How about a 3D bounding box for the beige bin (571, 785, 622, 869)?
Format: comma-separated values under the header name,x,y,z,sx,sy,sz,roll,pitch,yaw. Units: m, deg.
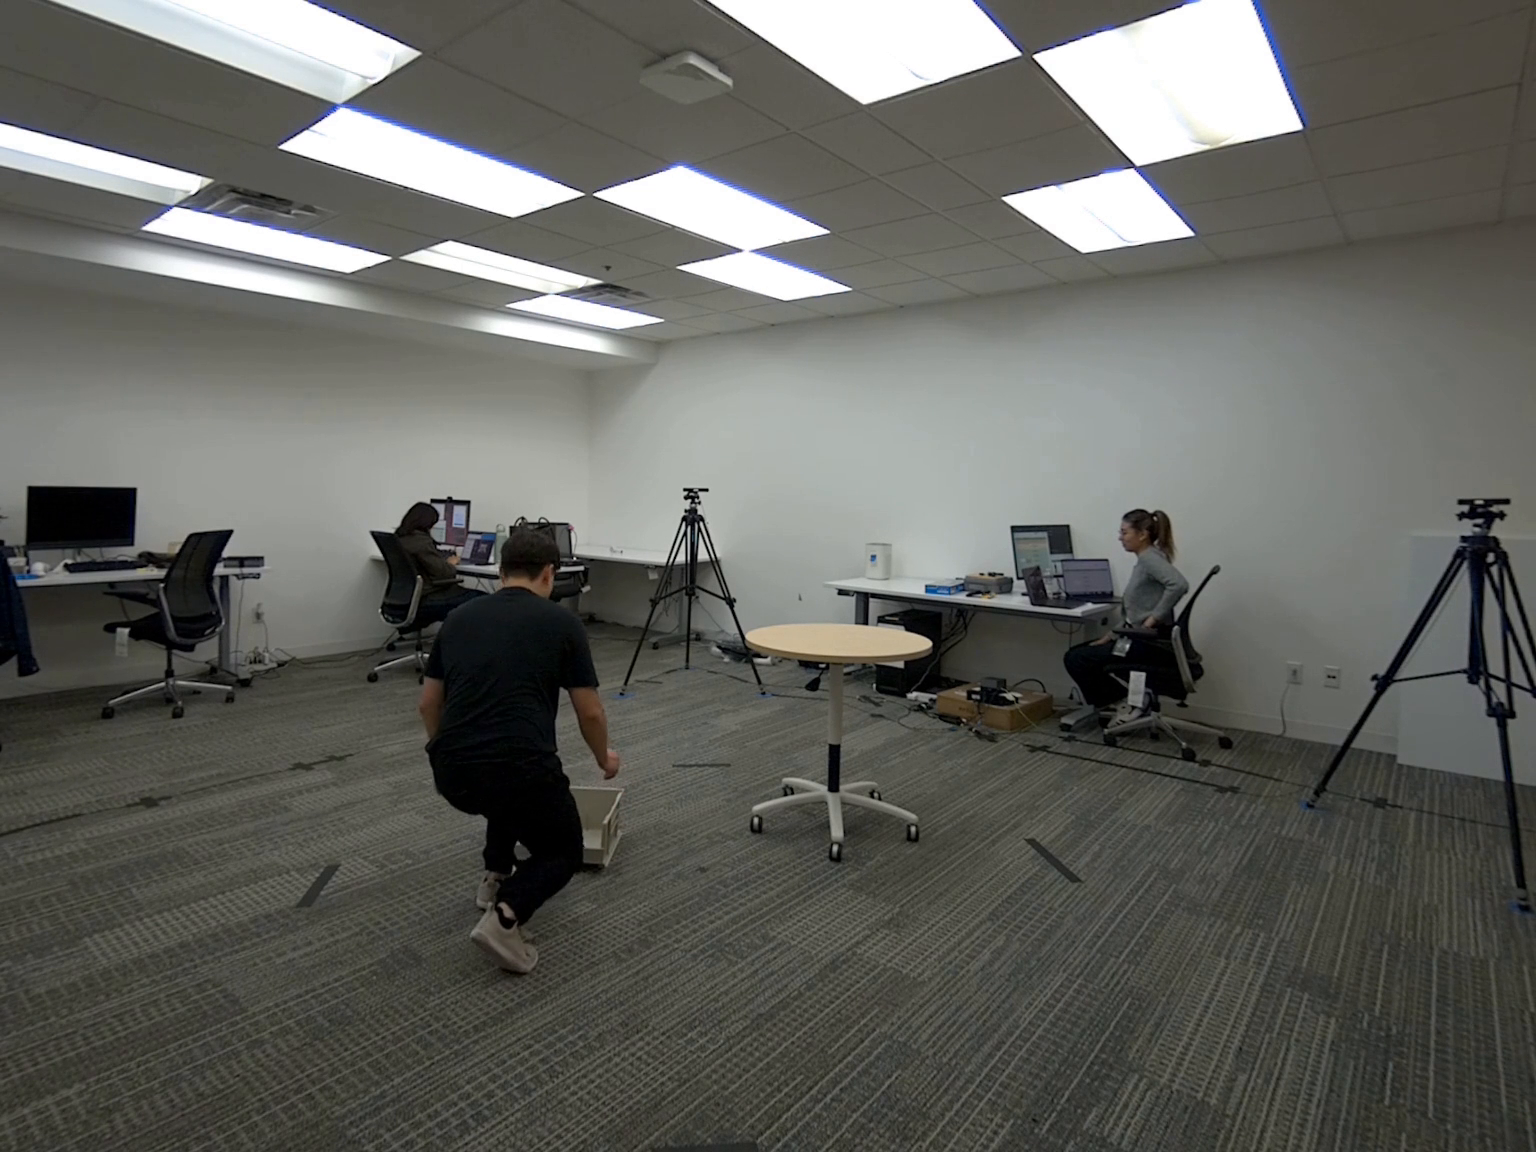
name,x,y,z,sx,sy,sz,roll,pitch,yaw
beige bin,-0.802,0.957,3.247,0.424,0.188,0.377,1,5,2
